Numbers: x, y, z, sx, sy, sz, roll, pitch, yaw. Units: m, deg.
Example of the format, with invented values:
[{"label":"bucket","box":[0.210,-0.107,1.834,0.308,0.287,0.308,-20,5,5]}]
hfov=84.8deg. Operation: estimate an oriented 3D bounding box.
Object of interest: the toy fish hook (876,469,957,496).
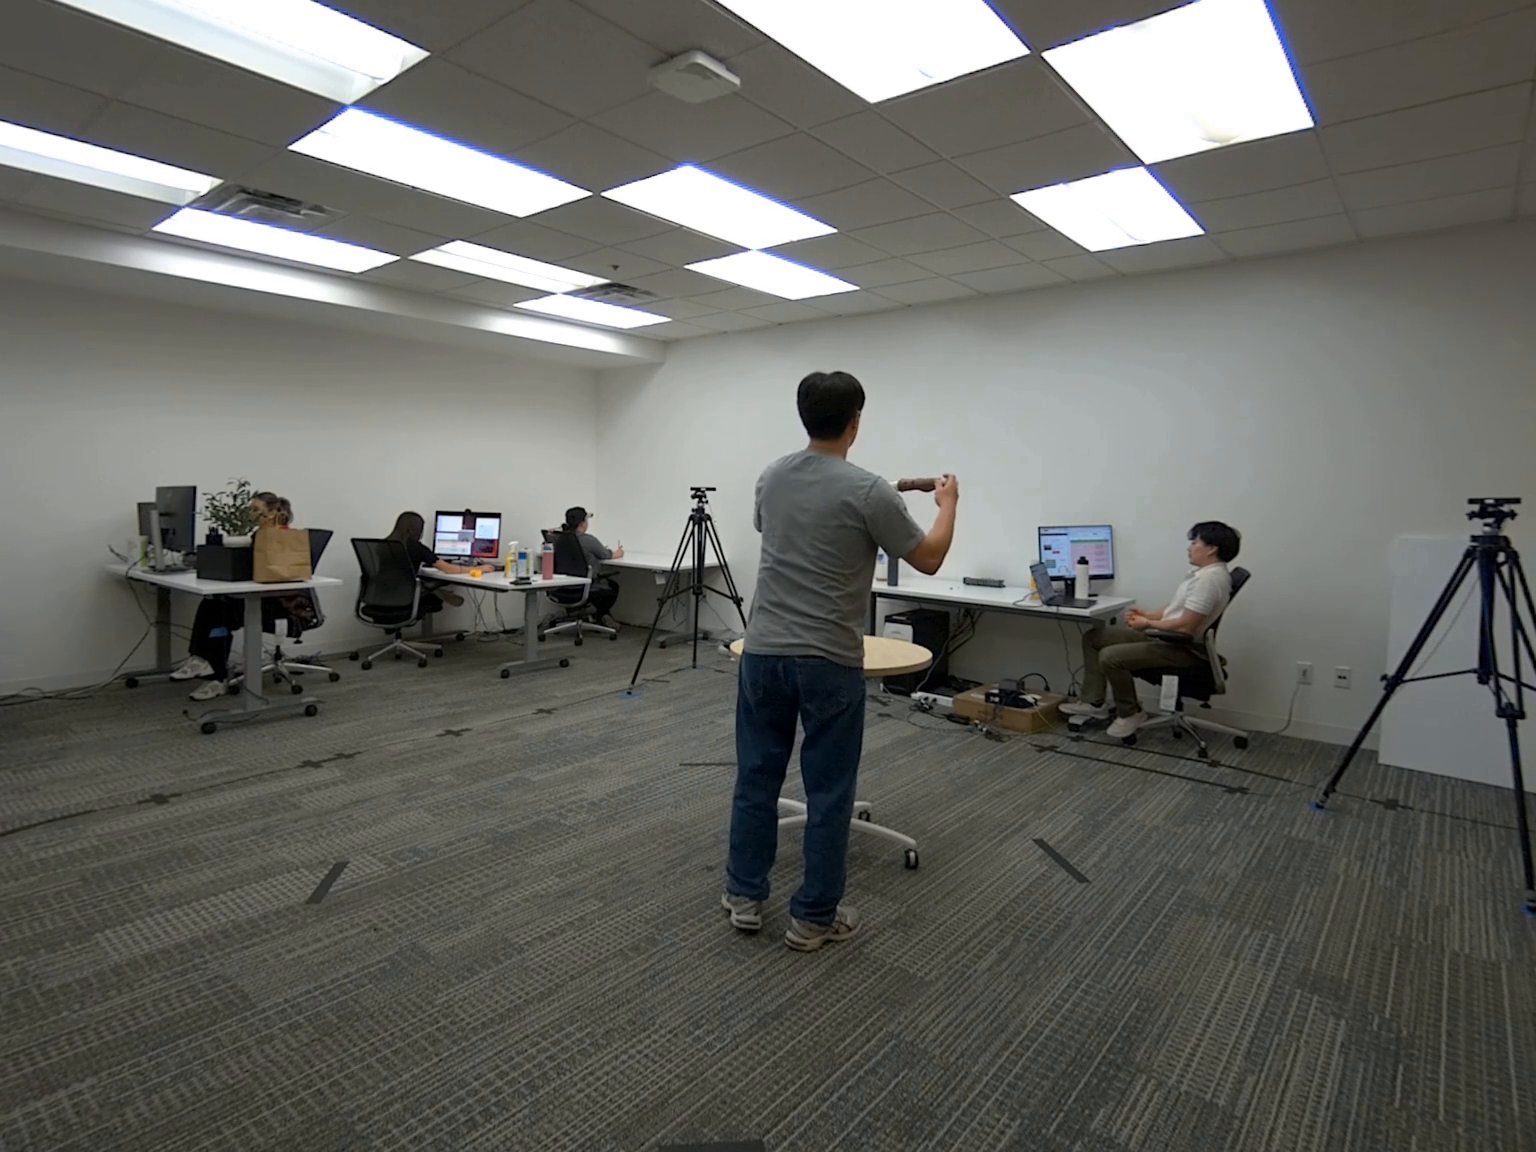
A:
[{"label":"toy fish hook","box":[0.373,-0.314,2.934,0.217,0.048,0.522,2,-2,-43]}]
